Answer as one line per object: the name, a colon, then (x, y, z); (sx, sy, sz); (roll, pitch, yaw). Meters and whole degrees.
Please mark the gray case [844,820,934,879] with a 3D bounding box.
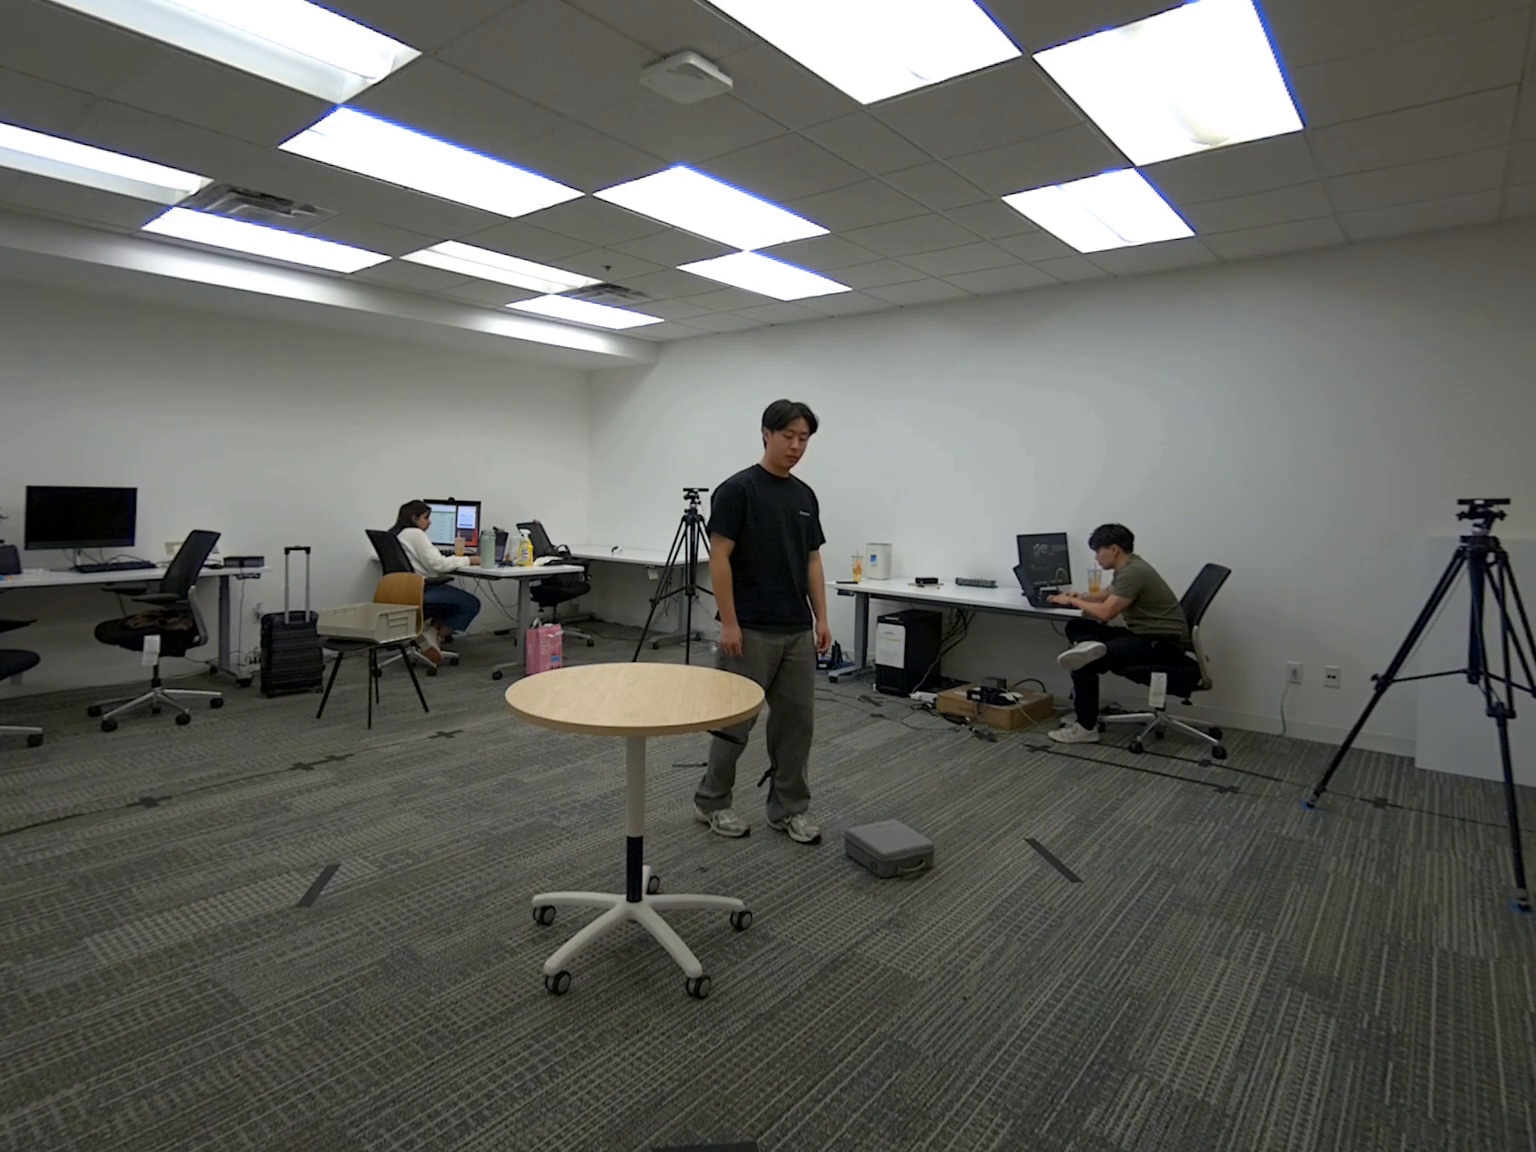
gray case: (0.457, 1.021, 3.201); (0.256, 0.102, 0.296); (-2, 7, -28)
